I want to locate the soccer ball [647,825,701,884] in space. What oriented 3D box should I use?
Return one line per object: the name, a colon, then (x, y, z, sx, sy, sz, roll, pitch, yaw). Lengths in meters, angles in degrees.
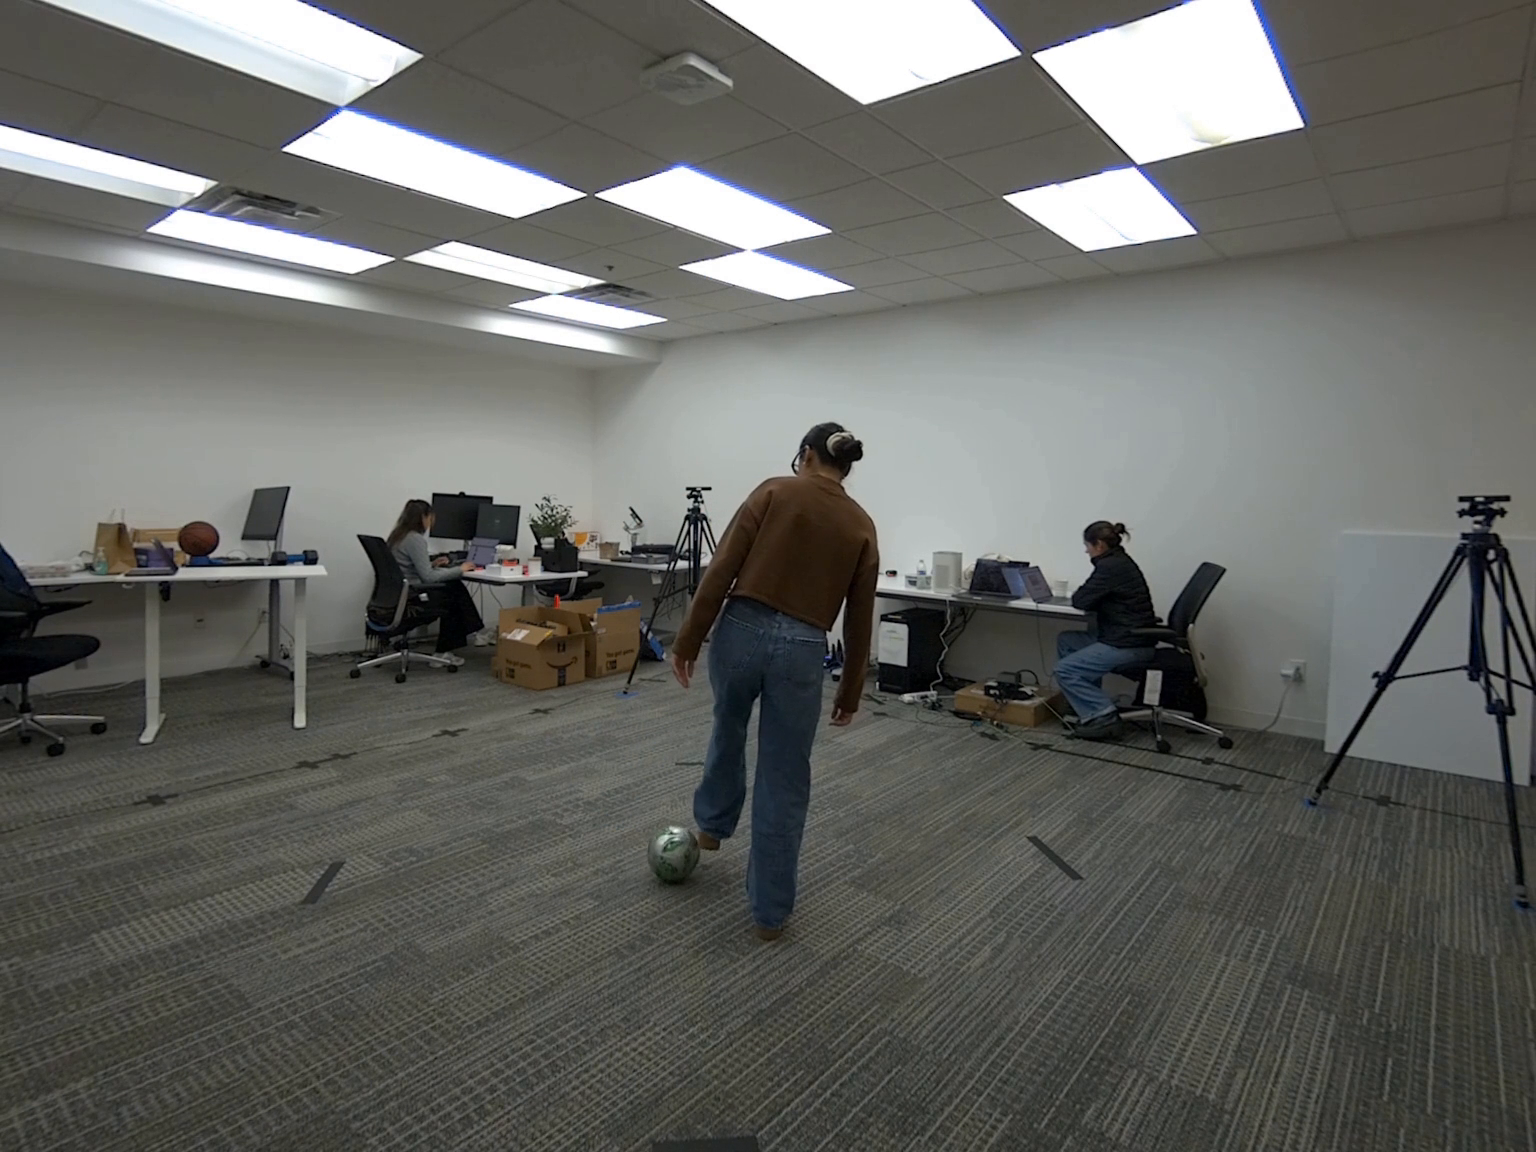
soccer ball: (-0.349, 0.981, 3.012, 0.187, 0.187, 0.188, 1, 4, -2)
